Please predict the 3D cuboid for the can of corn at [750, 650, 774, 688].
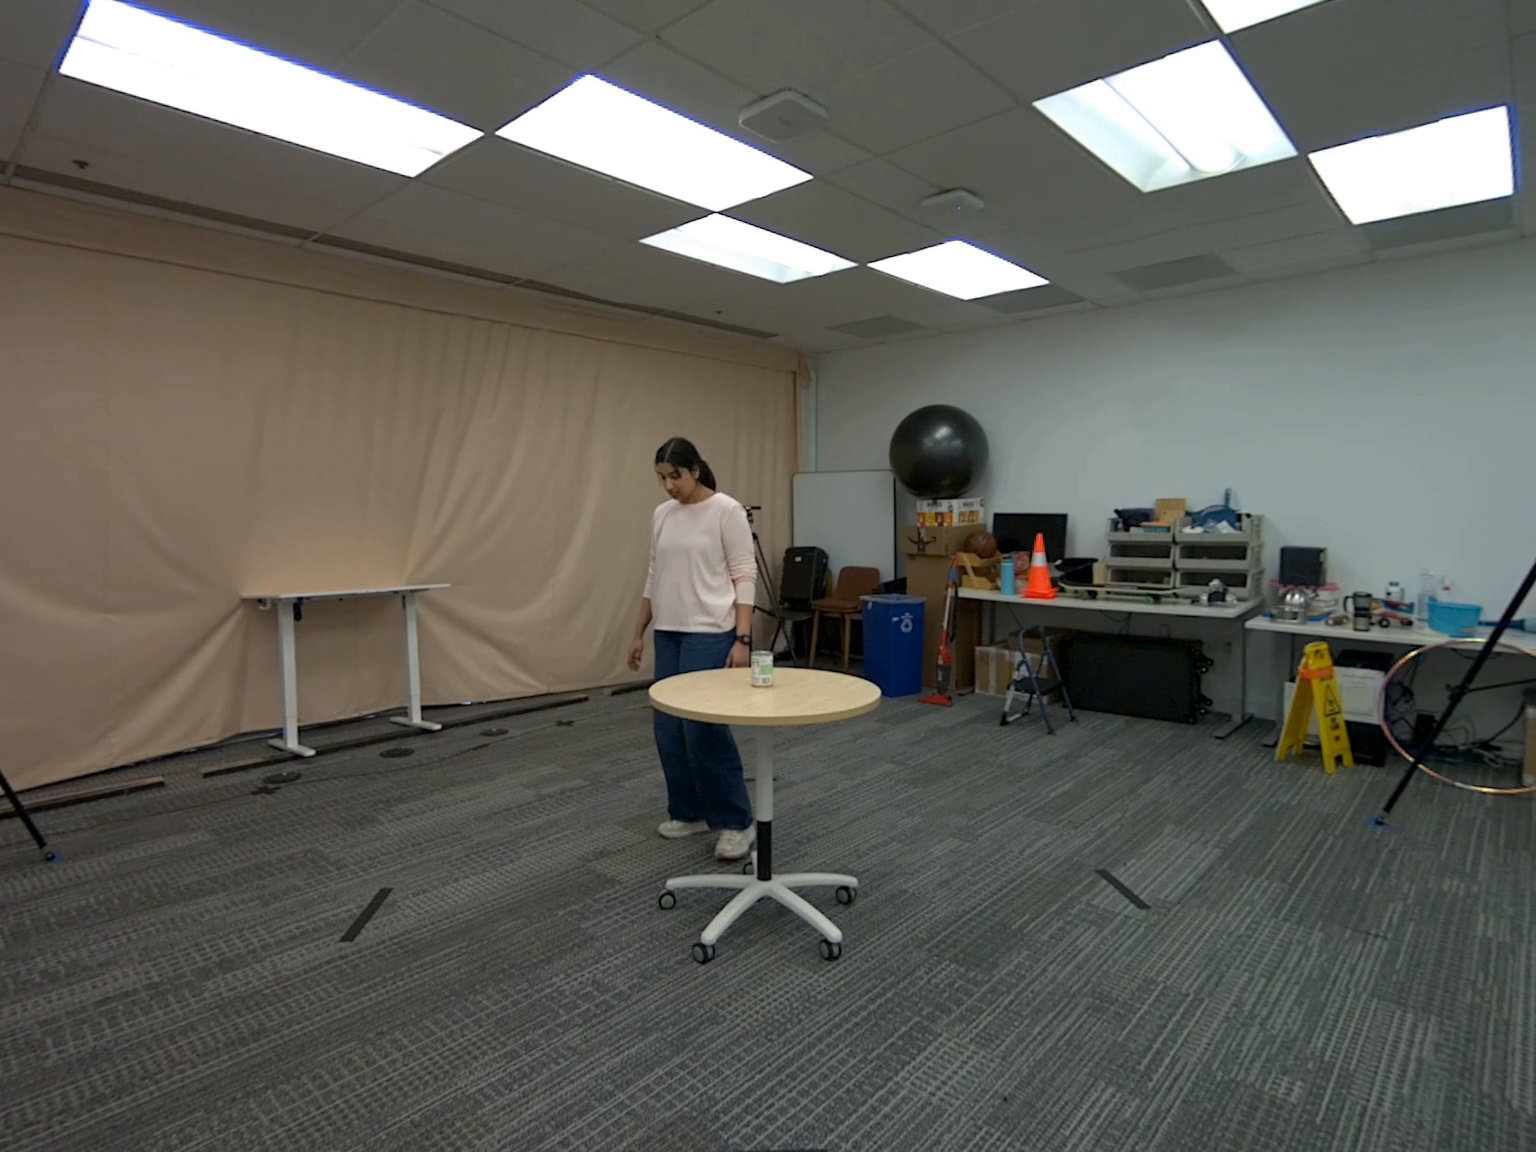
[{"bbox_3d":[-0.013,0.315,2.847,0.074,0.111,0.074,-1,2,-2],"label":"can of corn"}]
